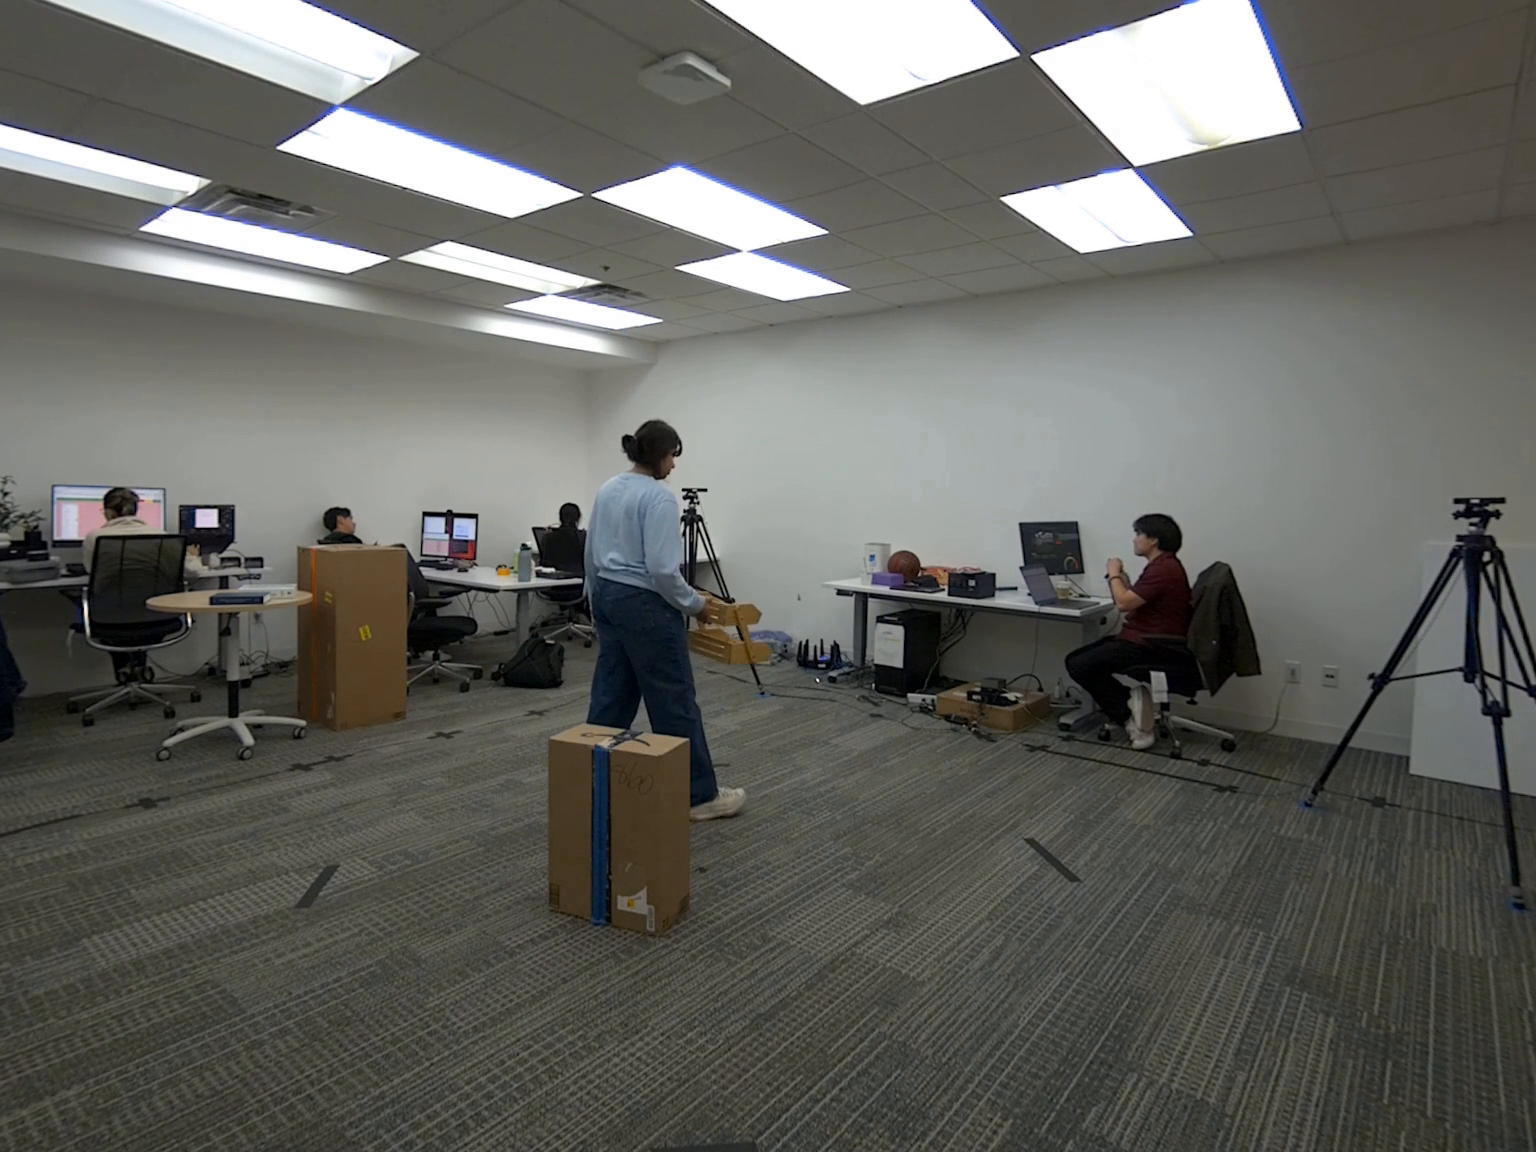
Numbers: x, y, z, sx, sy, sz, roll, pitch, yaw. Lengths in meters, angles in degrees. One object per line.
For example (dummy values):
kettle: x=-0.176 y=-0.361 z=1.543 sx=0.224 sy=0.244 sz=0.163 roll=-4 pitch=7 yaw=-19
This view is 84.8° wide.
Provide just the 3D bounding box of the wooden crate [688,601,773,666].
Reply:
wooden crate: x=-0.188 y=0.218 z=3.749 sx=0.292 sy=0.272 sz=0.336 roll=0 pitch=7 yaw=-43
